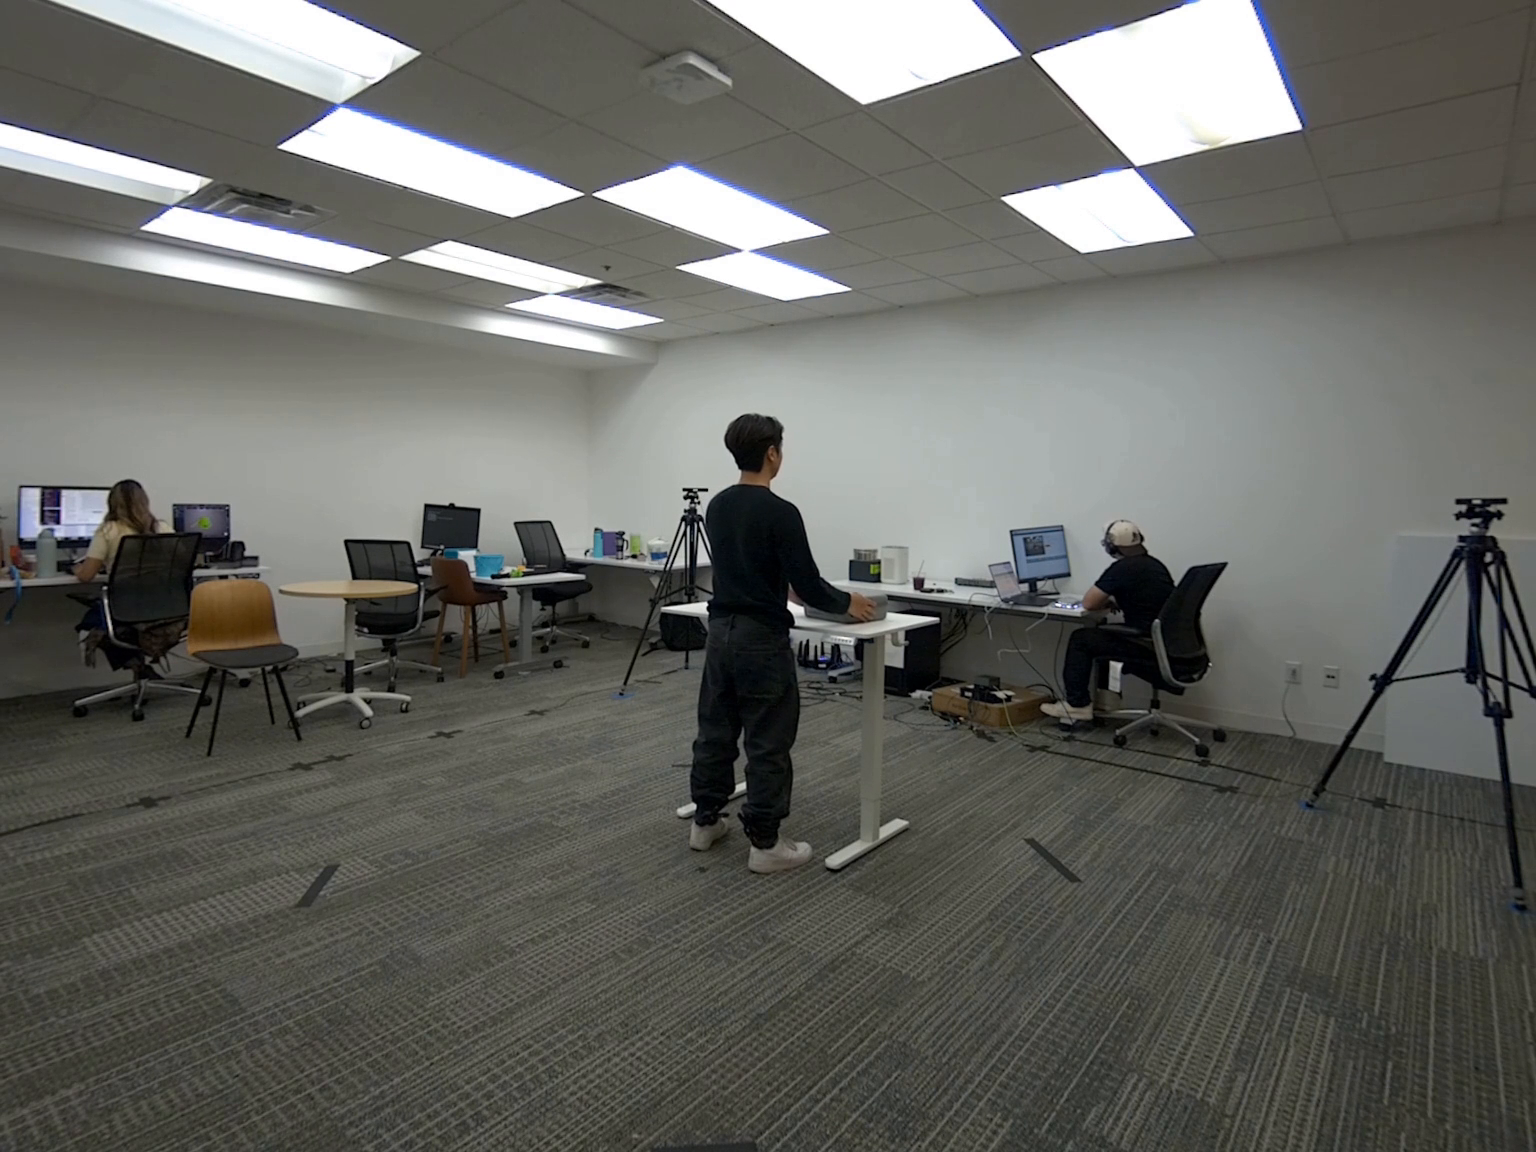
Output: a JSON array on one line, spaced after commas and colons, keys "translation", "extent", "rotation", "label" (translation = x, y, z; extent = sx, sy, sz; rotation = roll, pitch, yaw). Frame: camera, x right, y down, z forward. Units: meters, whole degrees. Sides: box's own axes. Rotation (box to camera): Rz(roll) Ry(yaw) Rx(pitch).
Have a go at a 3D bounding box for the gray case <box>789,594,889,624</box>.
[{"translation": [0.301, 0.117, 3.404], "extent": [0.253, 0.104, 0.266], "rotation": [-3, 6, -40], "label": "gray case"}]
